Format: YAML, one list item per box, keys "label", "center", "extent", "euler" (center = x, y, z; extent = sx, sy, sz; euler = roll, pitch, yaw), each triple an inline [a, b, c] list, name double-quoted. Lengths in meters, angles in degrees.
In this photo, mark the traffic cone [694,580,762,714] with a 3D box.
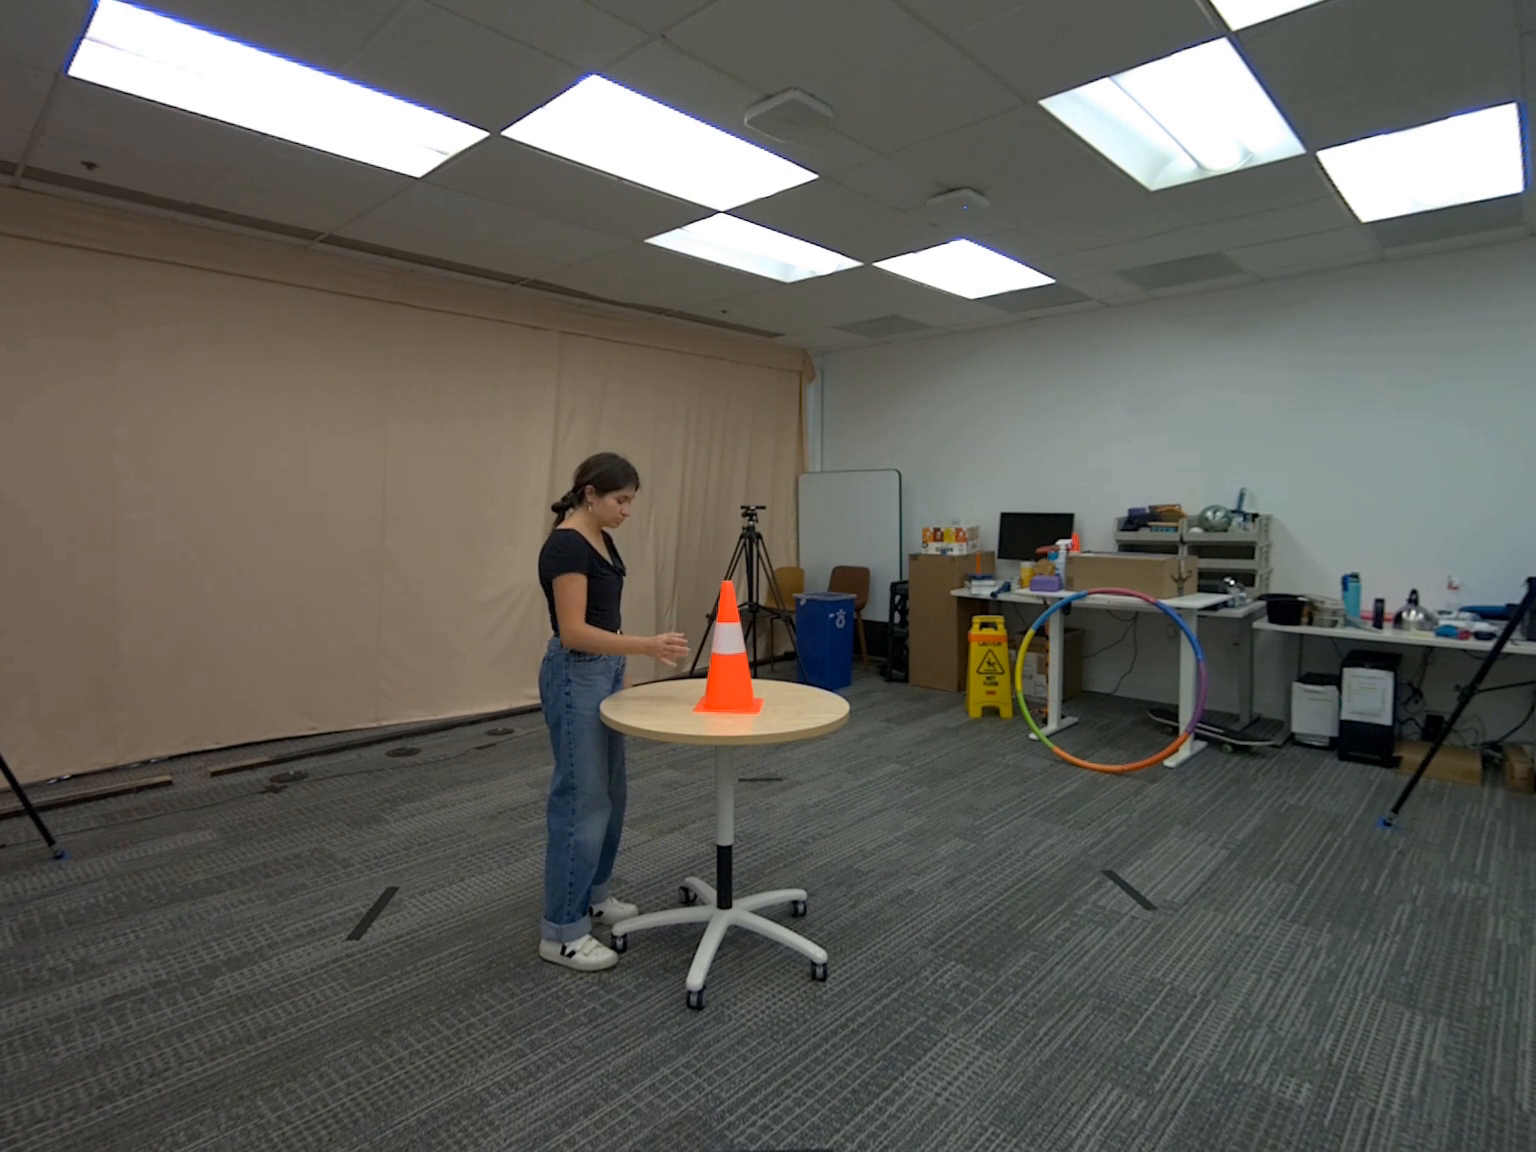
- label: "traffic cone"
  center: [-0.115, 0.212, 2.558]
  extent: [0.206, 0.383, 0.202]
  euler: [-1, 3, 4]
